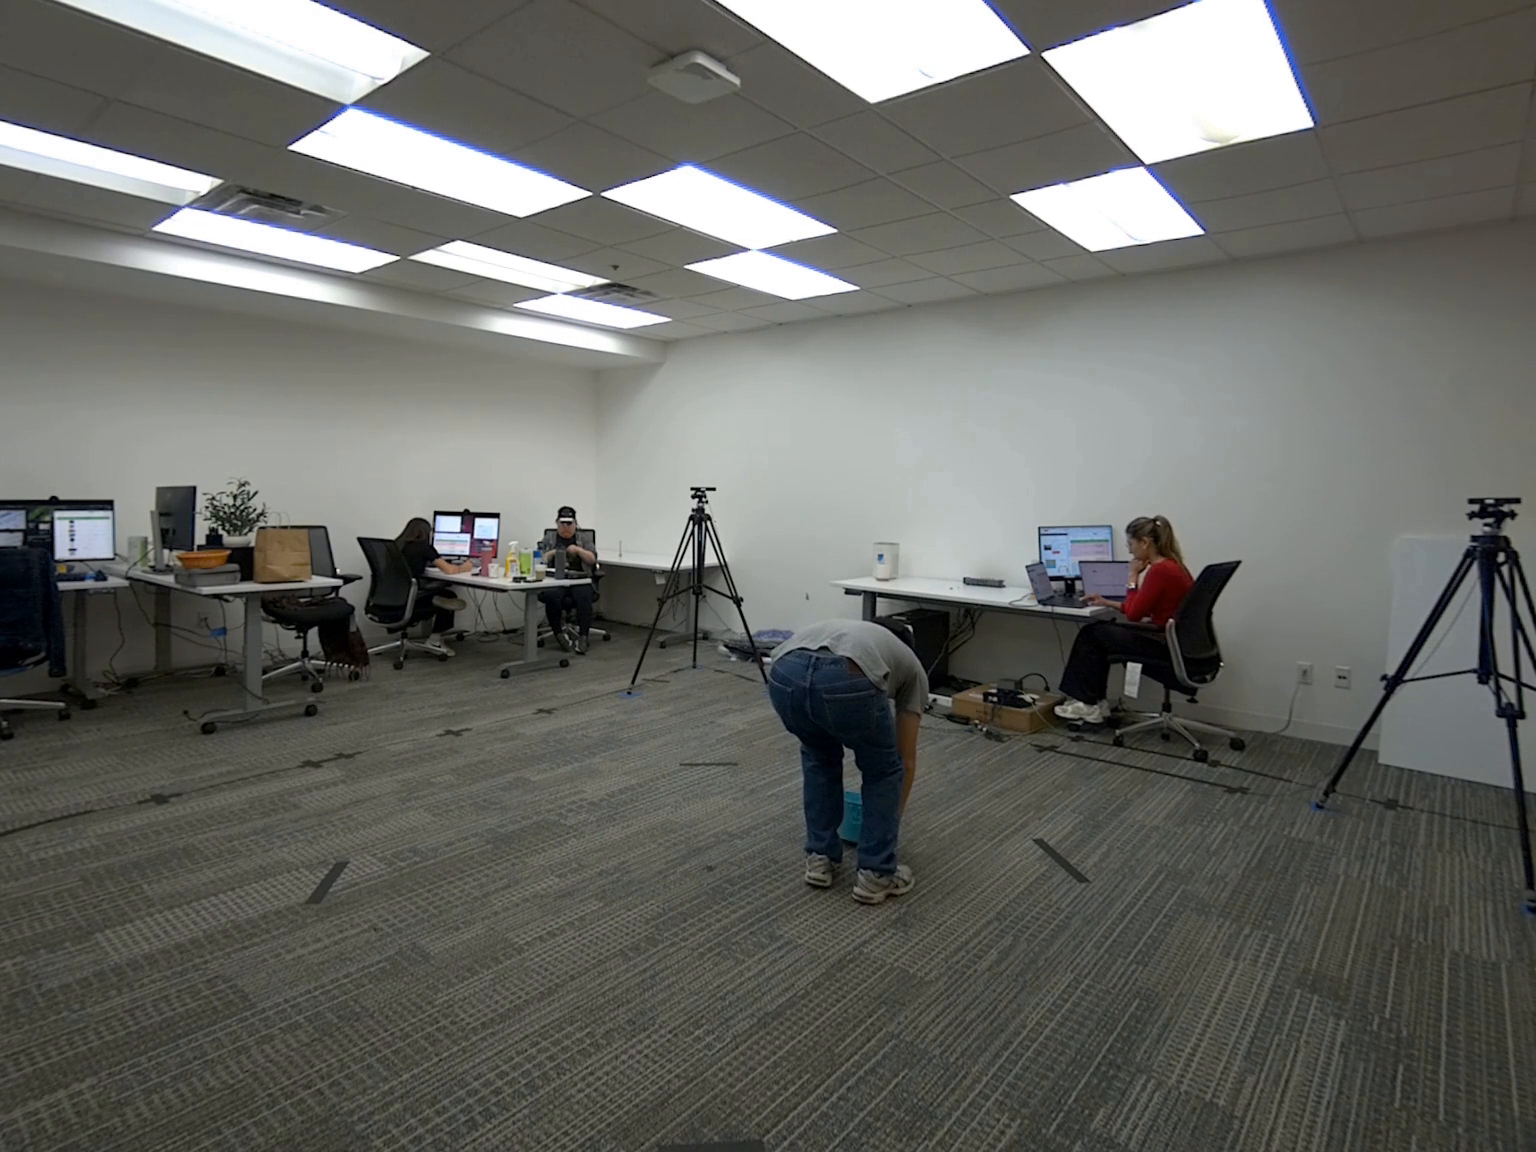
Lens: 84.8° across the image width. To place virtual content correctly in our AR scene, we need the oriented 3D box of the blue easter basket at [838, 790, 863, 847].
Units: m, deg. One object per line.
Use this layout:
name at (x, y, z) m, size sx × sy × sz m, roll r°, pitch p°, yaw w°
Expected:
blue easter basket at (0.363, 0.950, 3.390) m, size 0.244 × 0.156 × 0.243 m, roll 9°, pitch -4°, yaw -1°
